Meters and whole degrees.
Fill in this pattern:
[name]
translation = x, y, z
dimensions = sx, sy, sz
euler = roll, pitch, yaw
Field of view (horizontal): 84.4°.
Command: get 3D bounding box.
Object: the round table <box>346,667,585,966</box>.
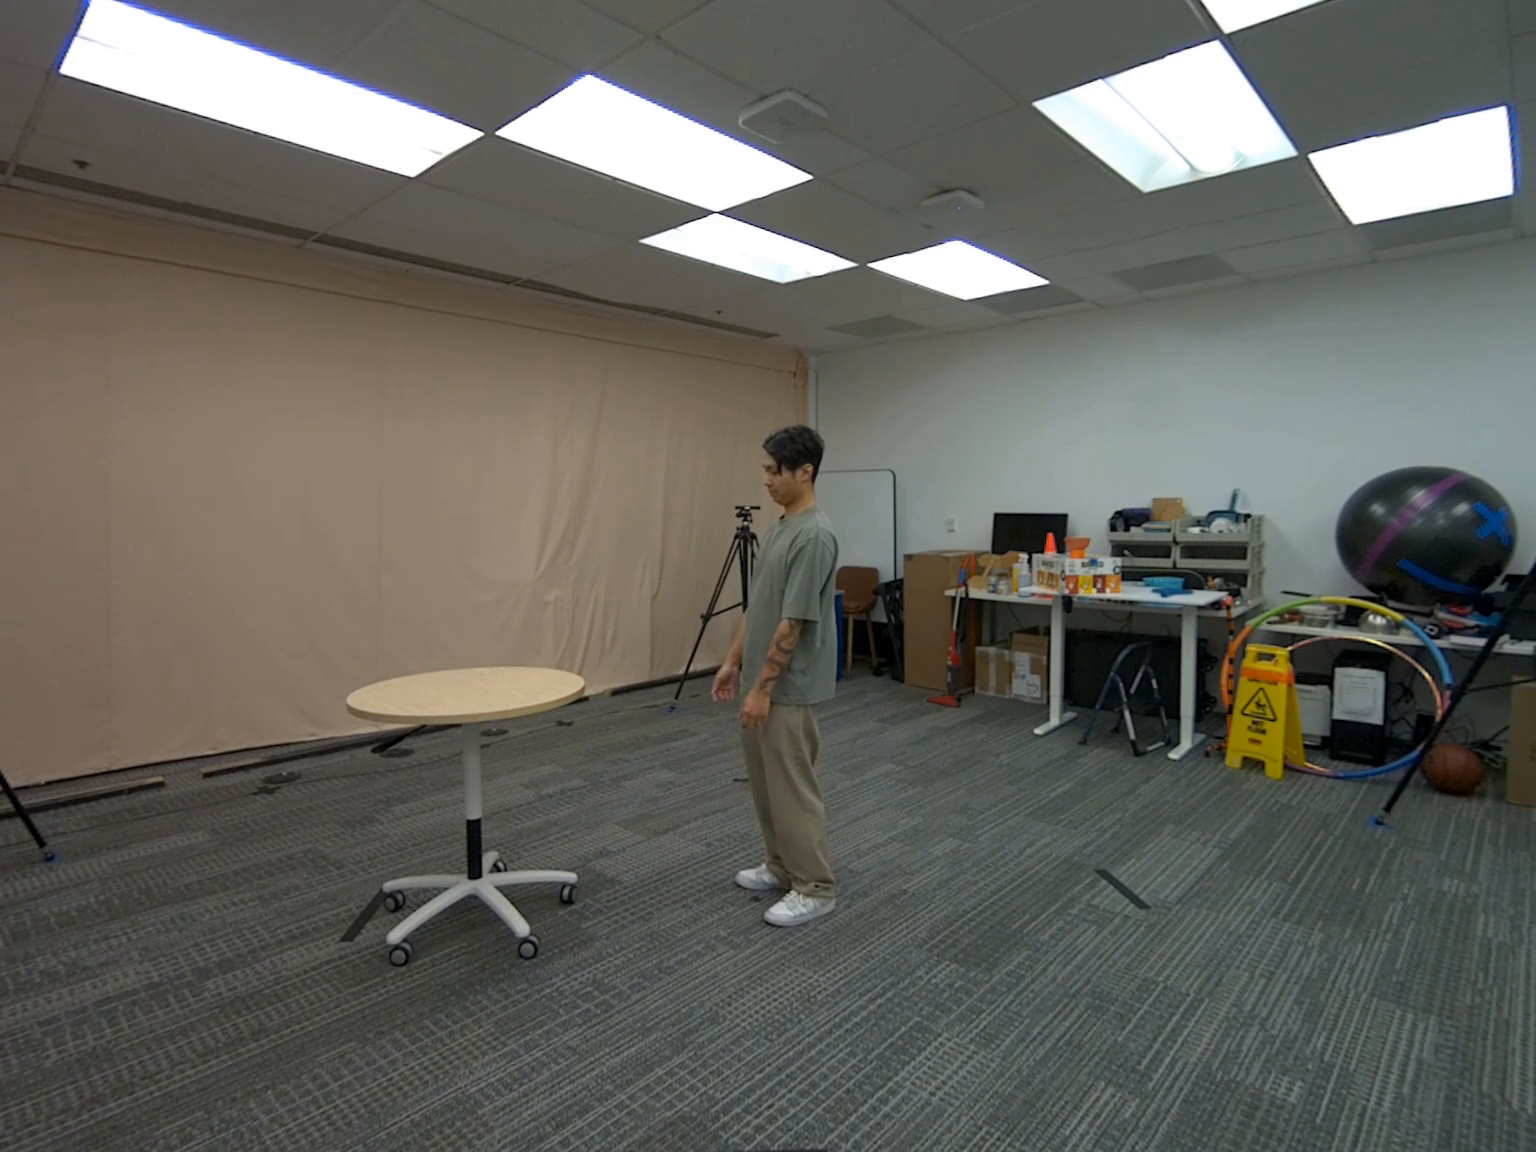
[round table]
translation = -0.995, 0.772, 2.857
dimensions = 0.784, 0.785, 0.788
euler = -1, 4, -2
